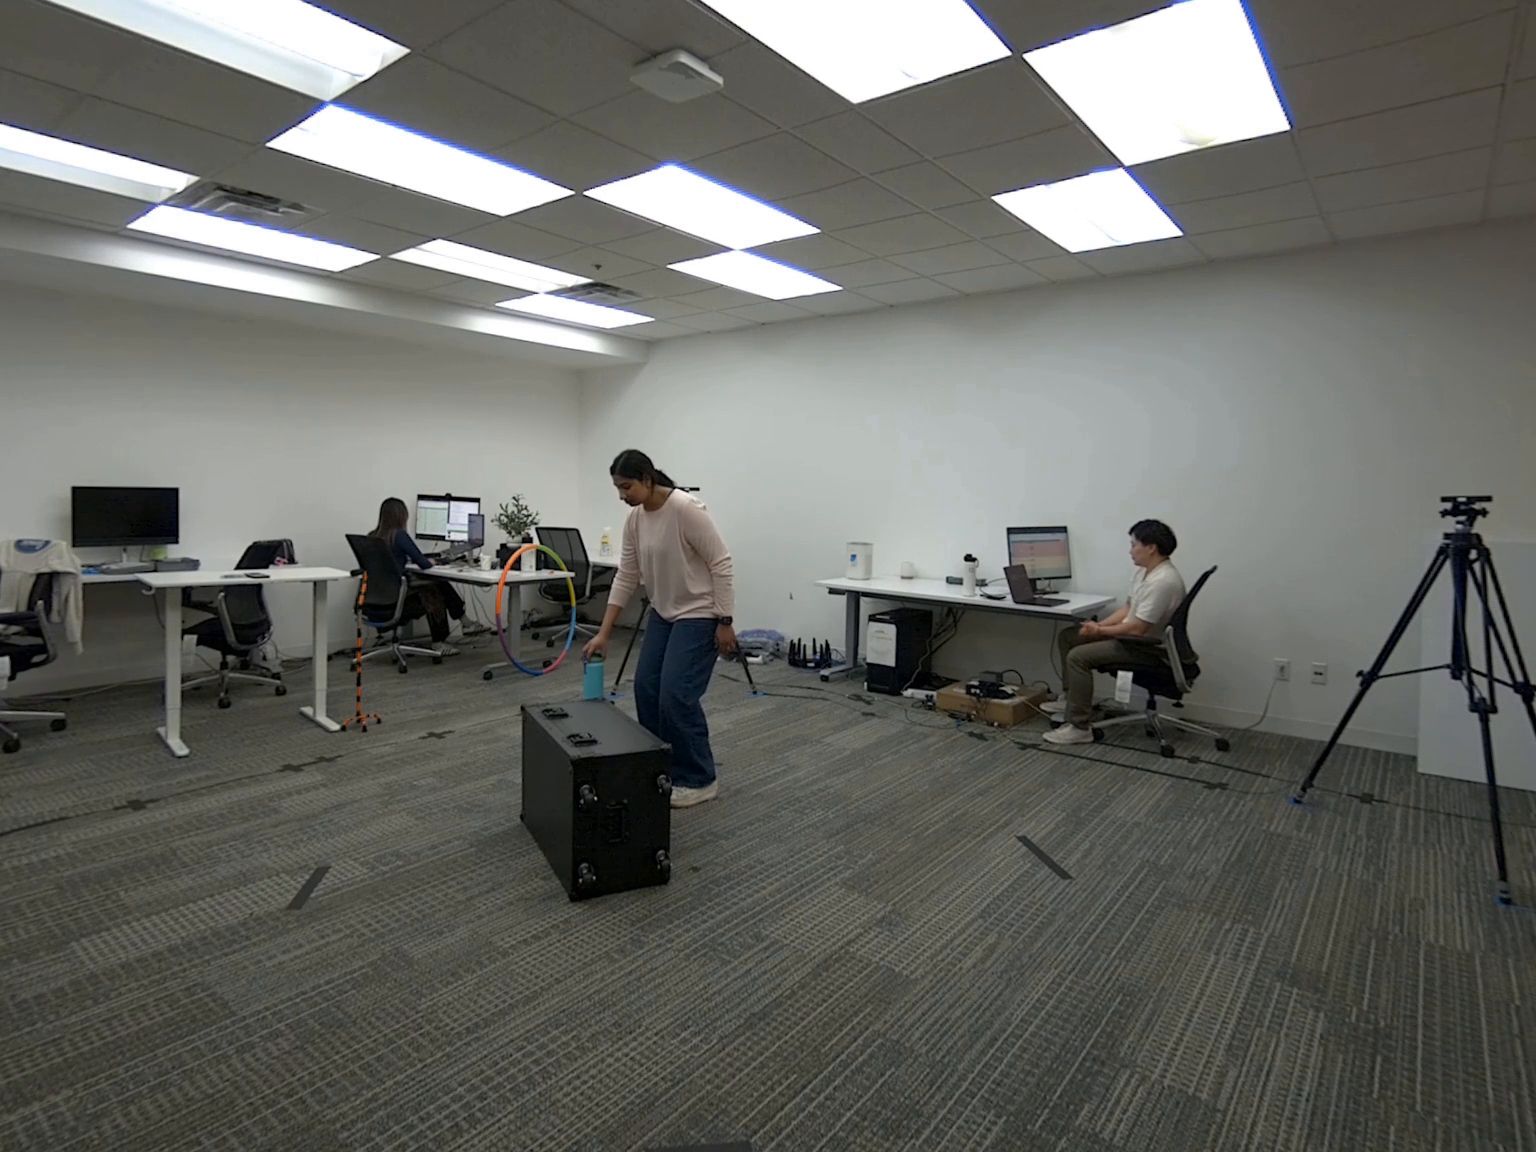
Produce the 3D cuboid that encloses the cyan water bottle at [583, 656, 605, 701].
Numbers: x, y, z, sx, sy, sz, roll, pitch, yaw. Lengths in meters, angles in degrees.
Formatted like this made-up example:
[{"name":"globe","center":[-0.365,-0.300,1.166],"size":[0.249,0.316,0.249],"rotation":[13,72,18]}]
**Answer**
[{"name":"cyan water bottle","center":[-0.807,0.476,3.877],"size":[0.092,0.283,0.092],"rotation":[-1,0,-2]}]
